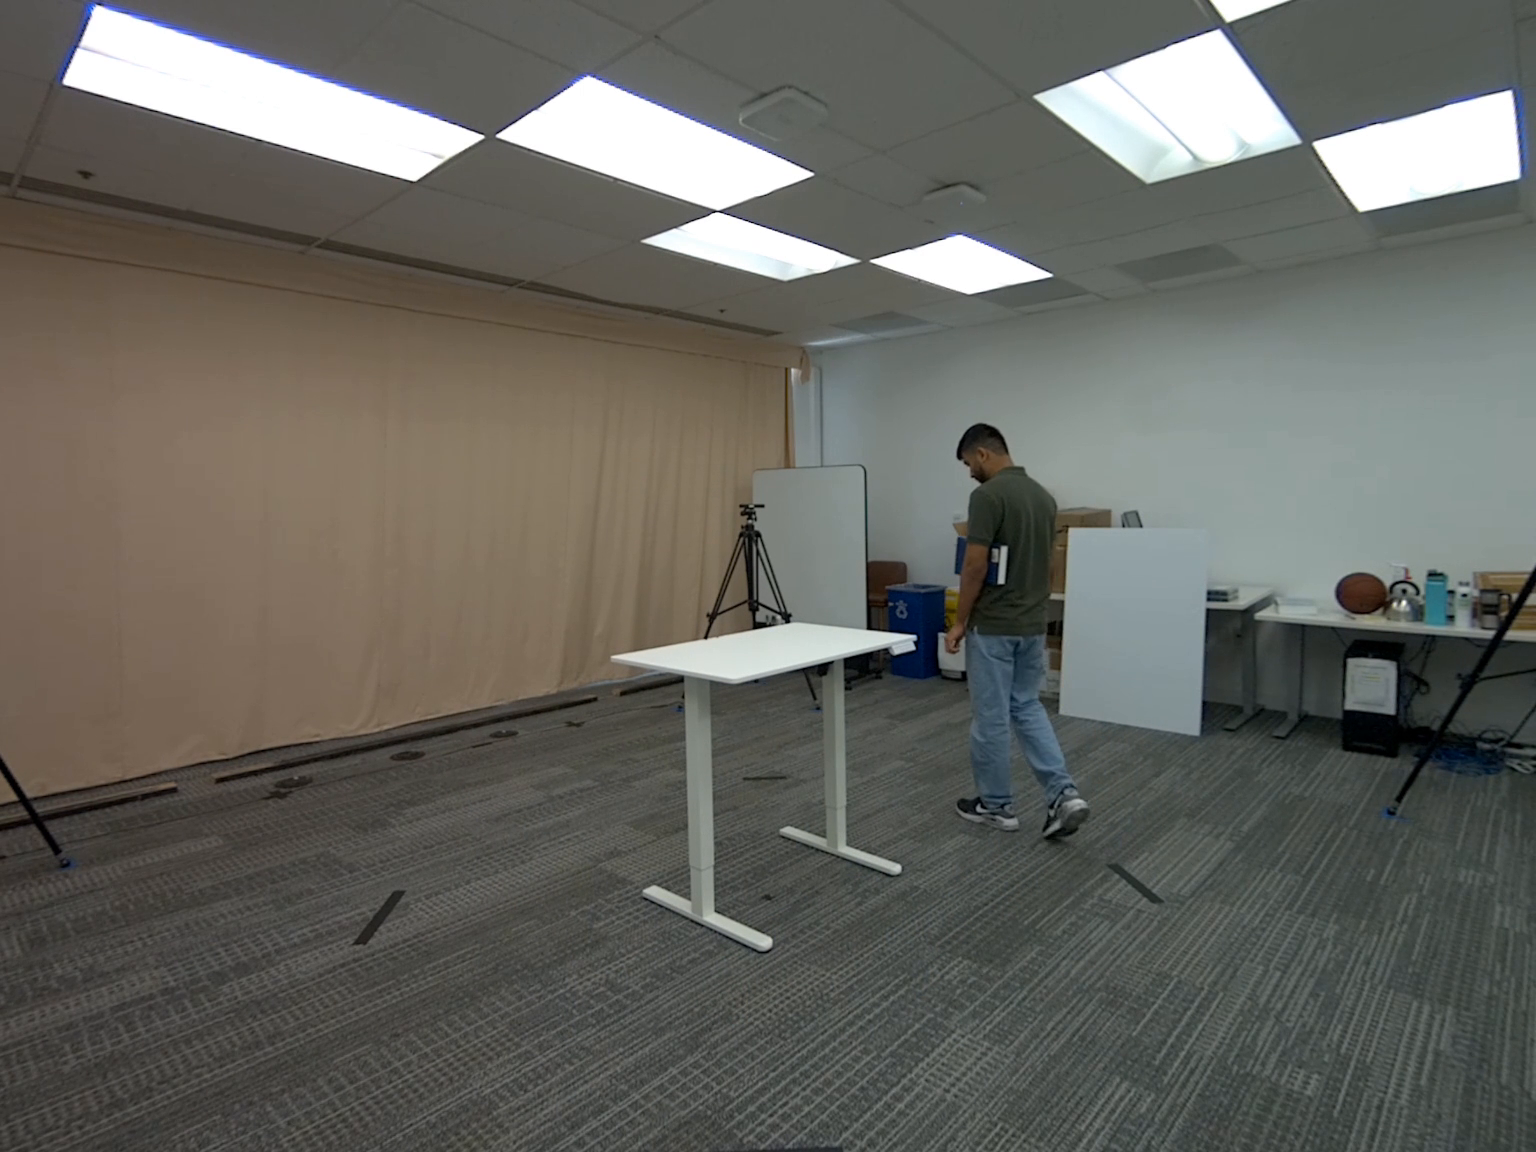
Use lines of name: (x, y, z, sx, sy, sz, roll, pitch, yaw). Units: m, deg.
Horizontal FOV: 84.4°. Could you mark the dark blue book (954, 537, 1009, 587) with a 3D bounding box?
dark blue book: (0.878, -0.060, 3.440, 0.044, 0.162, 0.253, -2, 12, -30)
